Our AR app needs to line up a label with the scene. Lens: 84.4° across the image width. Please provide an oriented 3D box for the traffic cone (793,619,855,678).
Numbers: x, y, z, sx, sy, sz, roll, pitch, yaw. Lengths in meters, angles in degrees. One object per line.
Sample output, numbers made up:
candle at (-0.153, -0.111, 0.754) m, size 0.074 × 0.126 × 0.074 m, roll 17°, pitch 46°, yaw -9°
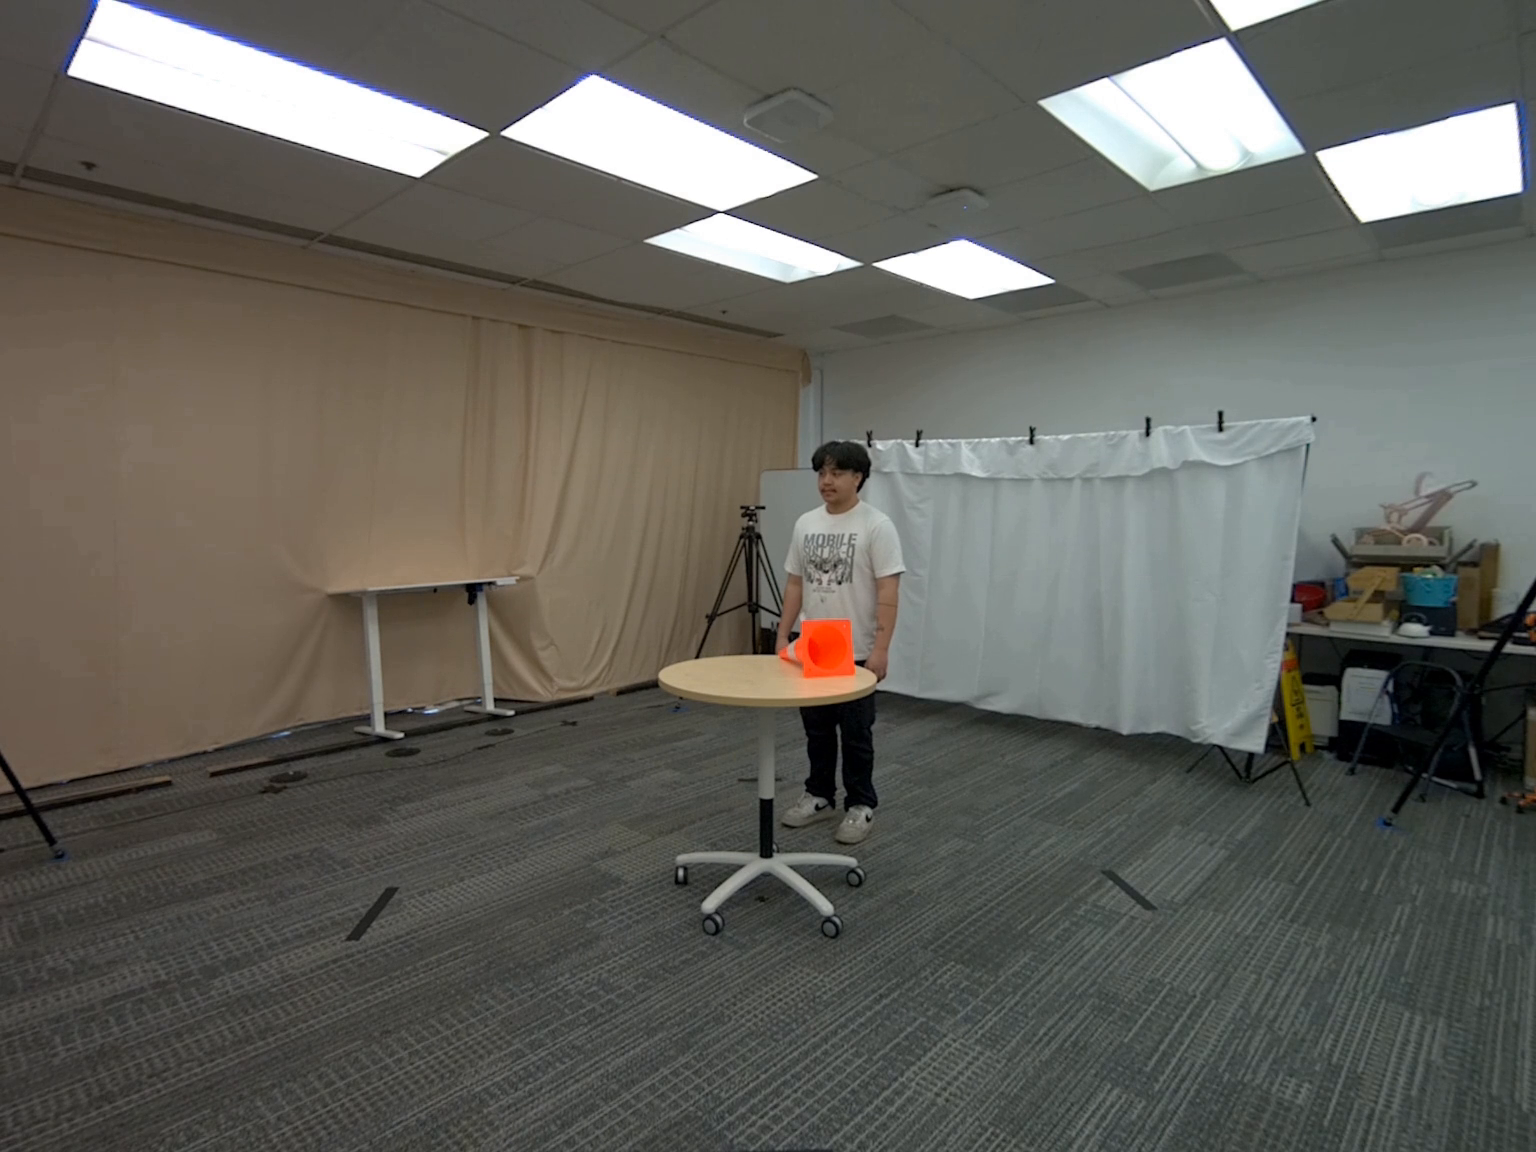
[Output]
traffic cone at (0.131, 0.281, 3.133) m, size 0.200 × 0.204 × 0.390 m, roll -7°, pitch -7°, yaw -24°
